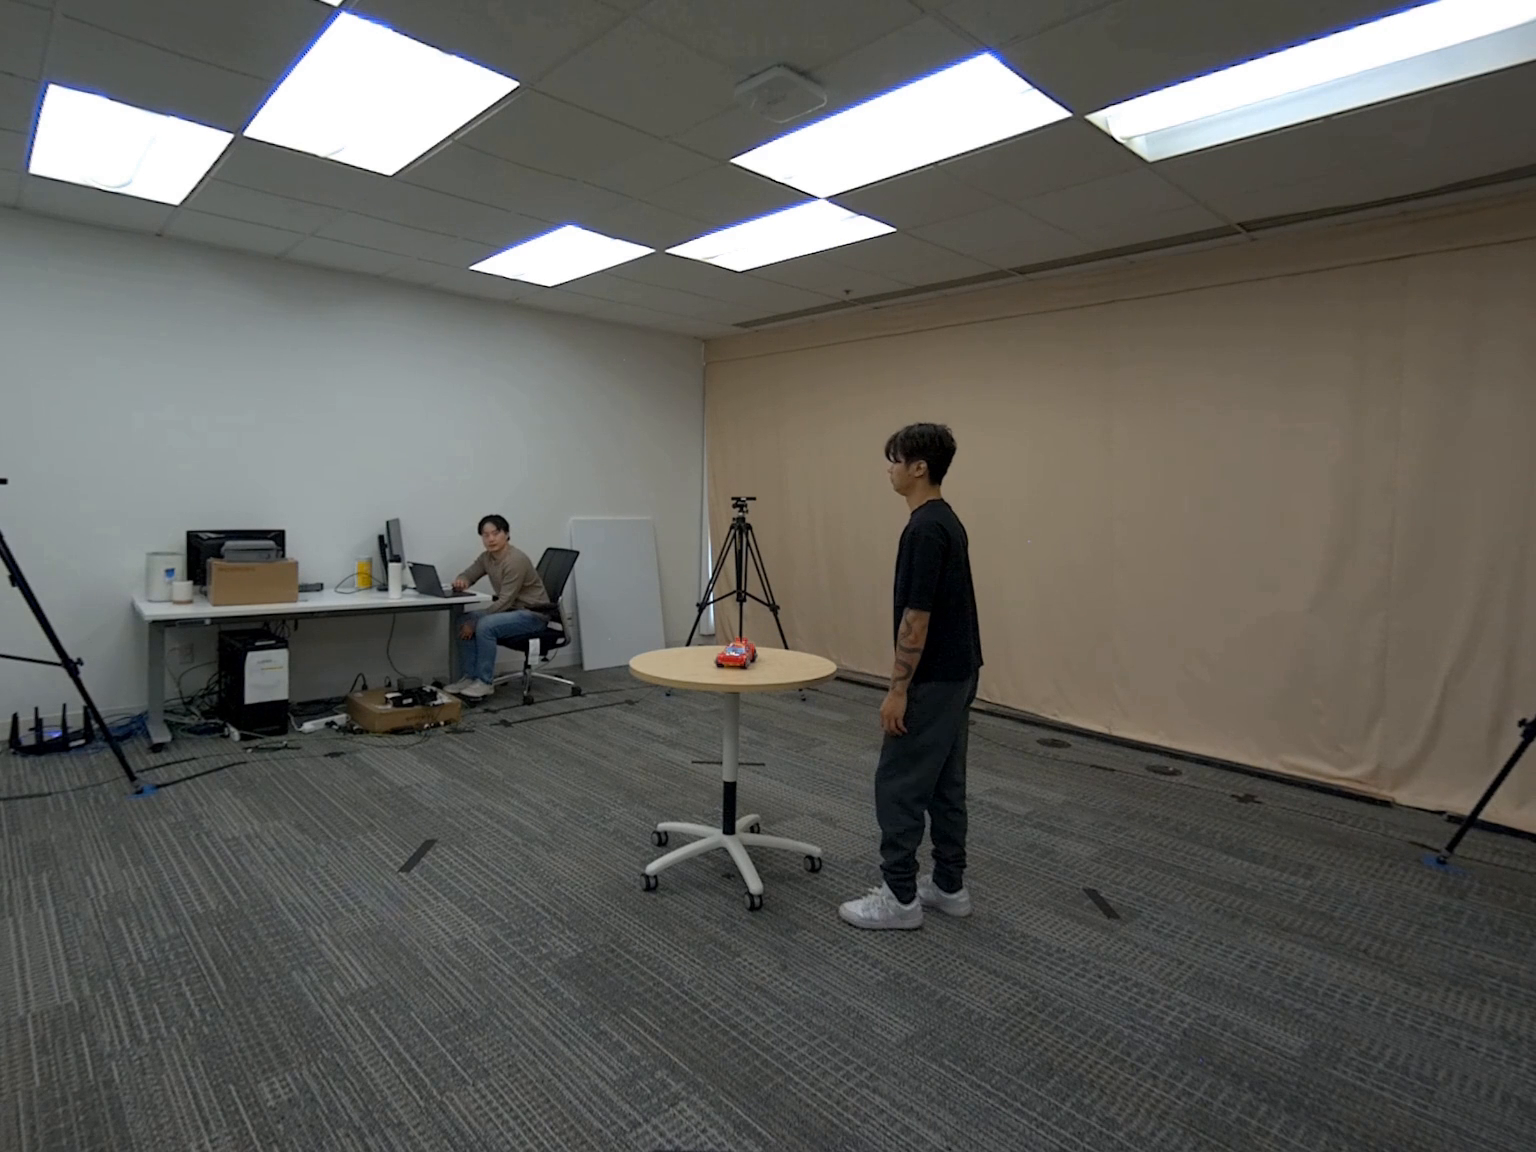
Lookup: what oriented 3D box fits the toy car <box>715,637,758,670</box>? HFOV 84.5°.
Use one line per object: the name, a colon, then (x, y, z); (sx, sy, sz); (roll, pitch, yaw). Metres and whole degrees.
toy car: (-0.113, 0.290, 3.107); (0.131, 0.082, 0.255); (1, 15, 10)
